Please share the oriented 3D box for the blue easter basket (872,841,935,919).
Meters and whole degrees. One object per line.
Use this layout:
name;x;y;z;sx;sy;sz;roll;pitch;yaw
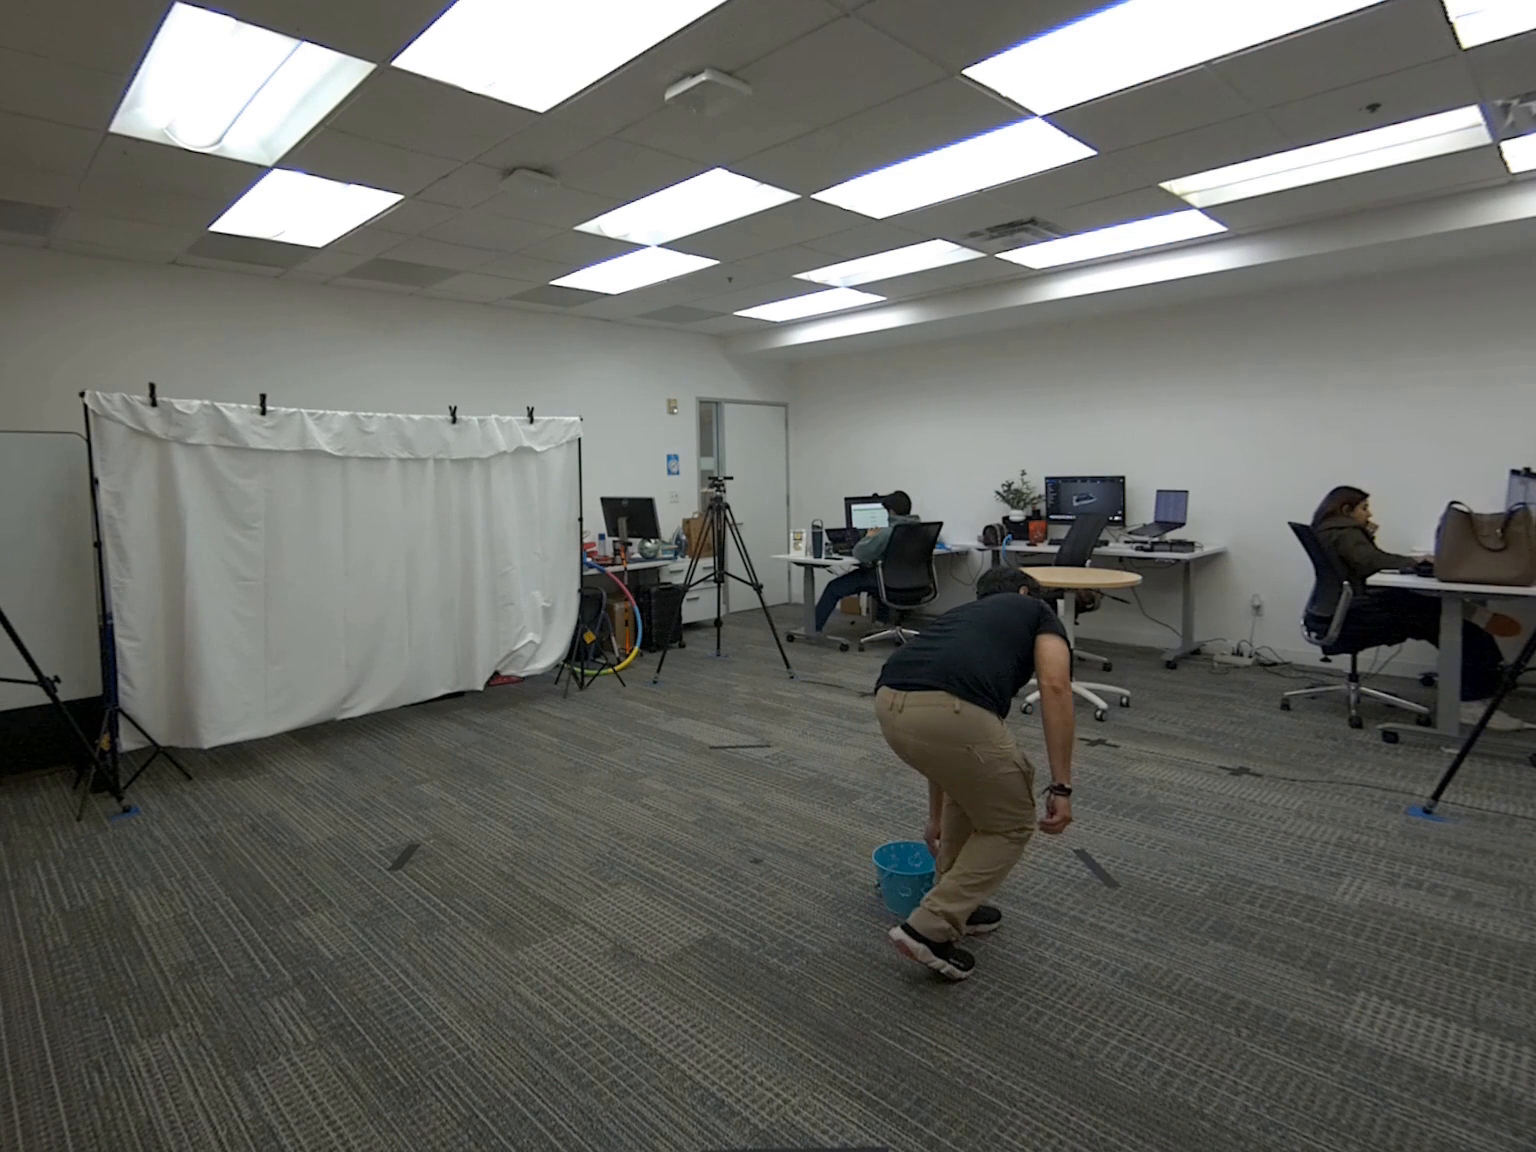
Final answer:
blue easter basket;0.469;0.985;2.777;0.243;0.155;0.245;-3;7;-1
